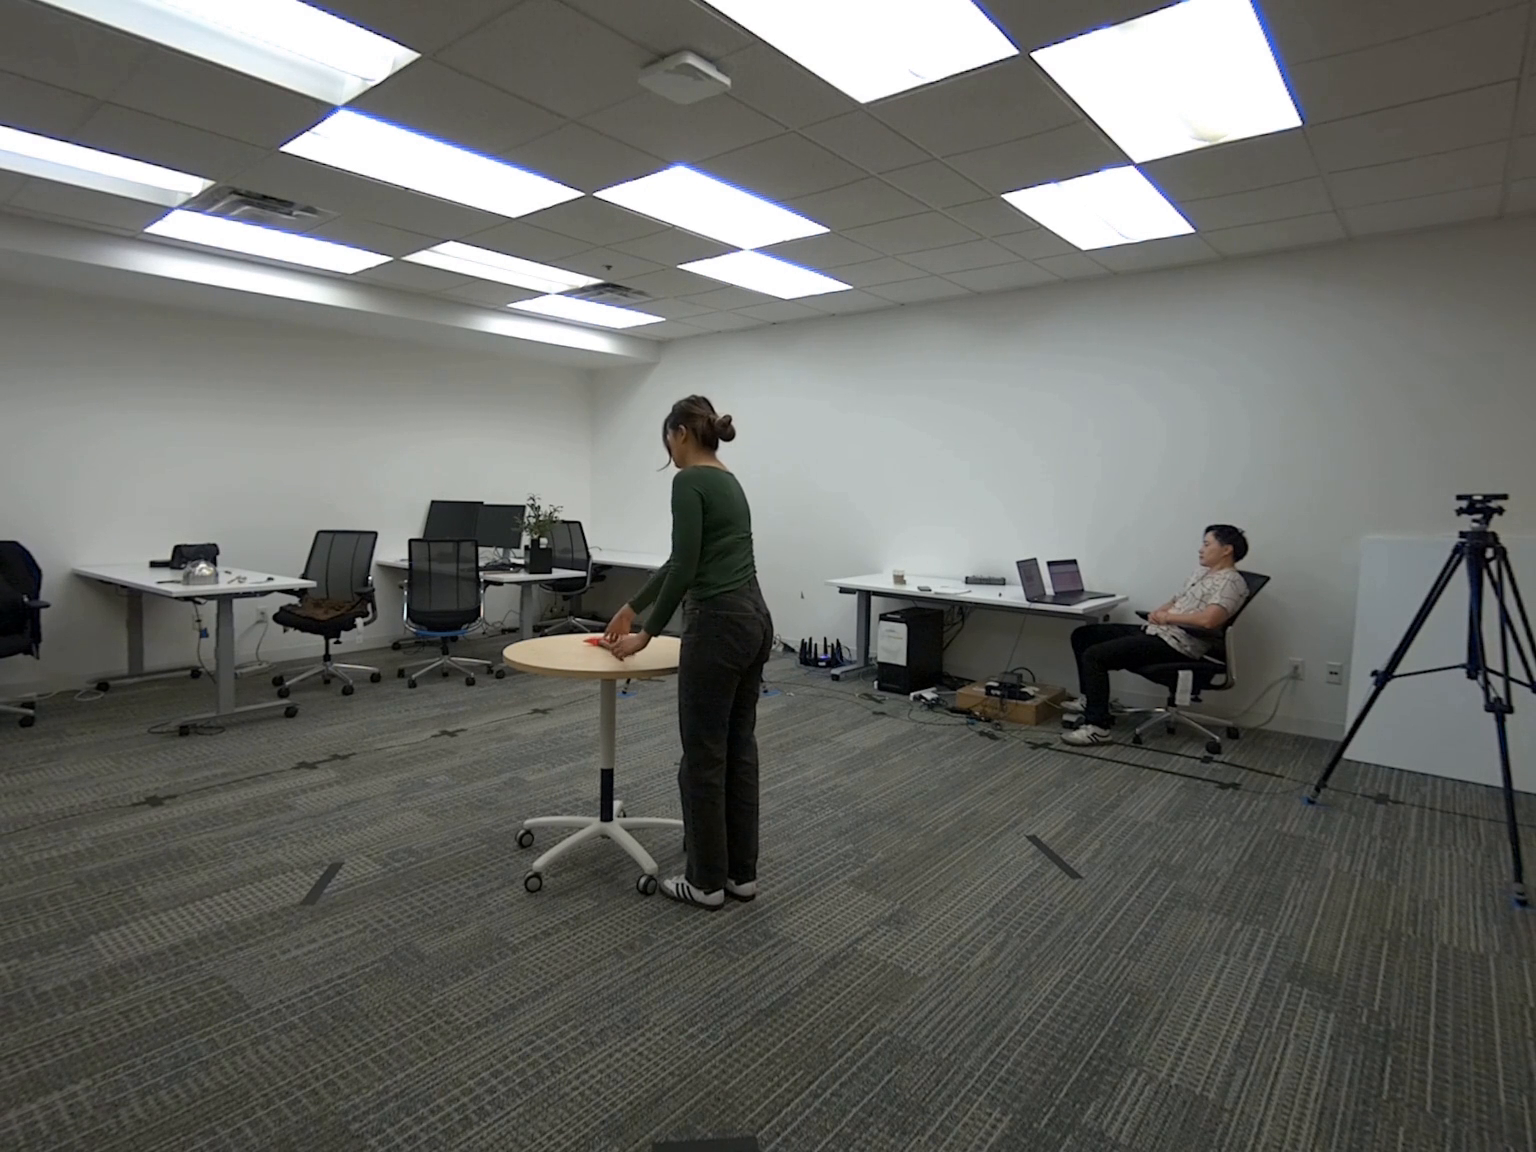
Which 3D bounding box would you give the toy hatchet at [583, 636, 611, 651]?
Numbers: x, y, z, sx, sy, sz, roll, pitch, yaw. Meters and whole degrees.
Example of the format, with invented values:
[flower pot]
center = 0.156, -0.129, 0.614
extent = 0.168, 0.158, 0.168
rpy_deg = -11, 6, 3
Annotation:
[toy hatchet]
center = -0.592, 0.258, 3.188
extent = 0.280, 0.029, 0.127
rpy_deg = 9, 5, 41
